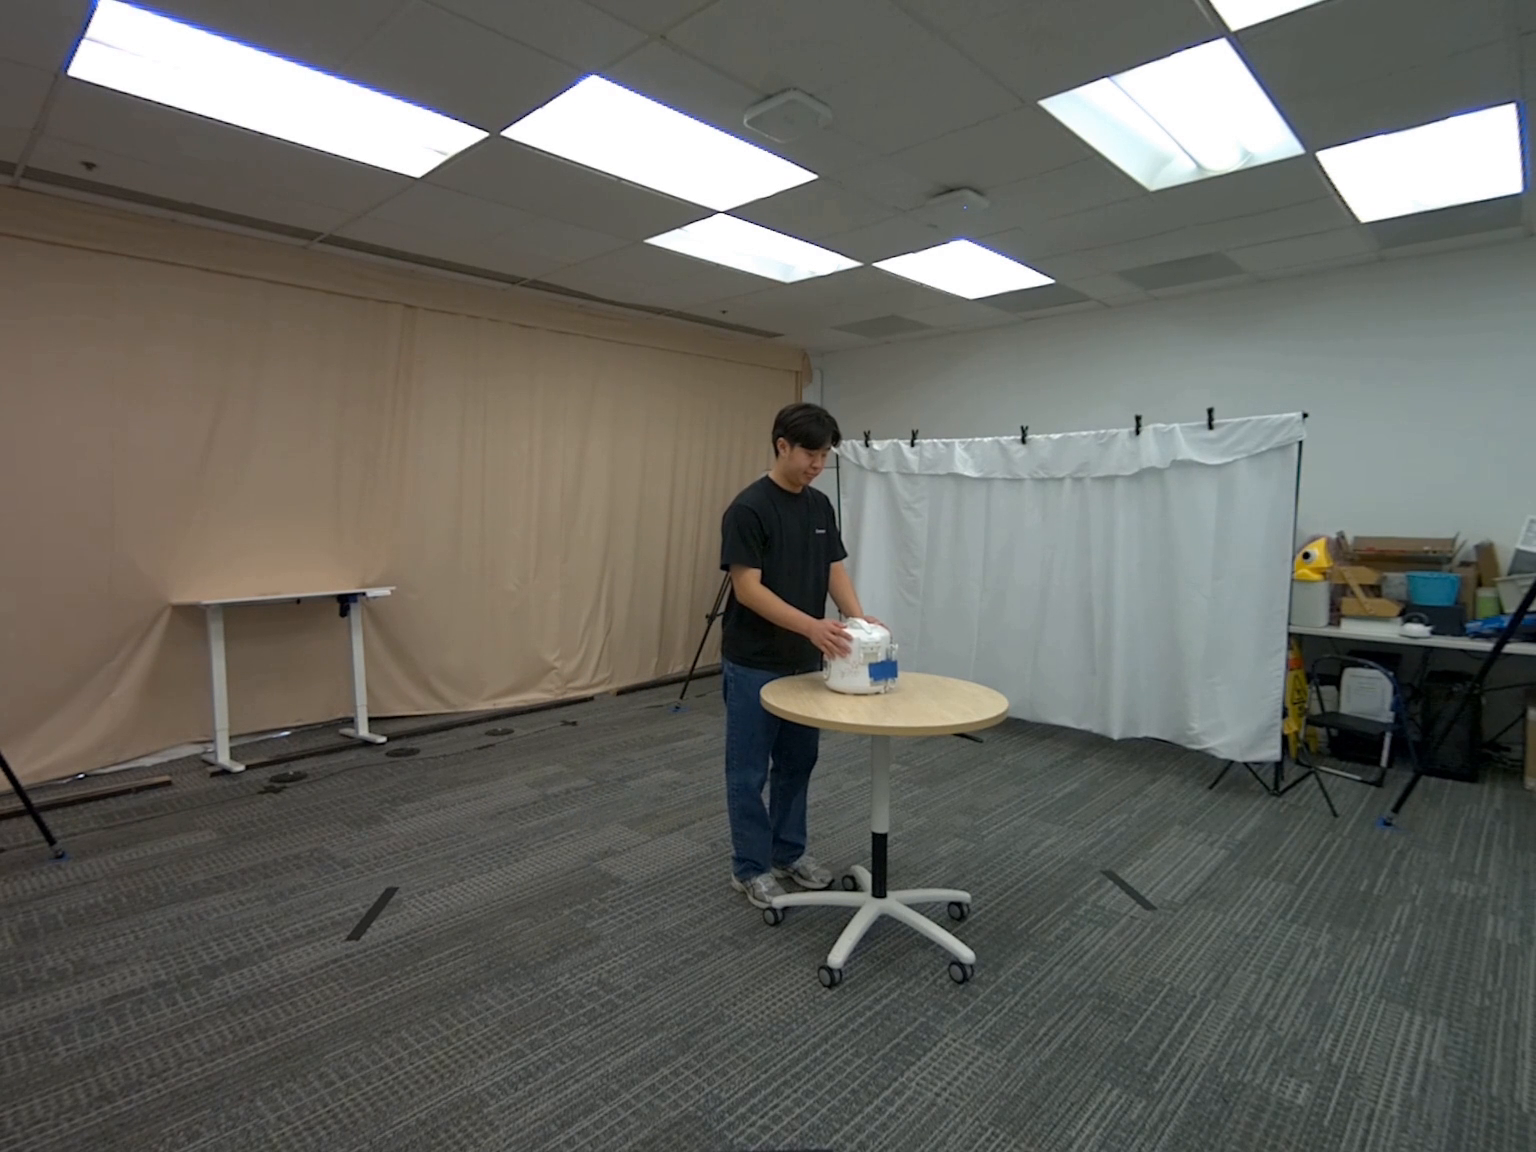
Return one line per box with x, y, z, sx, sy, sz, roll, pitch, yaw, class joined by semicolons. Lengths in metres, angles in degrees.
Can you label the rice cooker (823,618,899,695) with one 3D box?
0.290;0.252;2.723;0.214;0.232;0.224;-1;3;-16;rice cooker
